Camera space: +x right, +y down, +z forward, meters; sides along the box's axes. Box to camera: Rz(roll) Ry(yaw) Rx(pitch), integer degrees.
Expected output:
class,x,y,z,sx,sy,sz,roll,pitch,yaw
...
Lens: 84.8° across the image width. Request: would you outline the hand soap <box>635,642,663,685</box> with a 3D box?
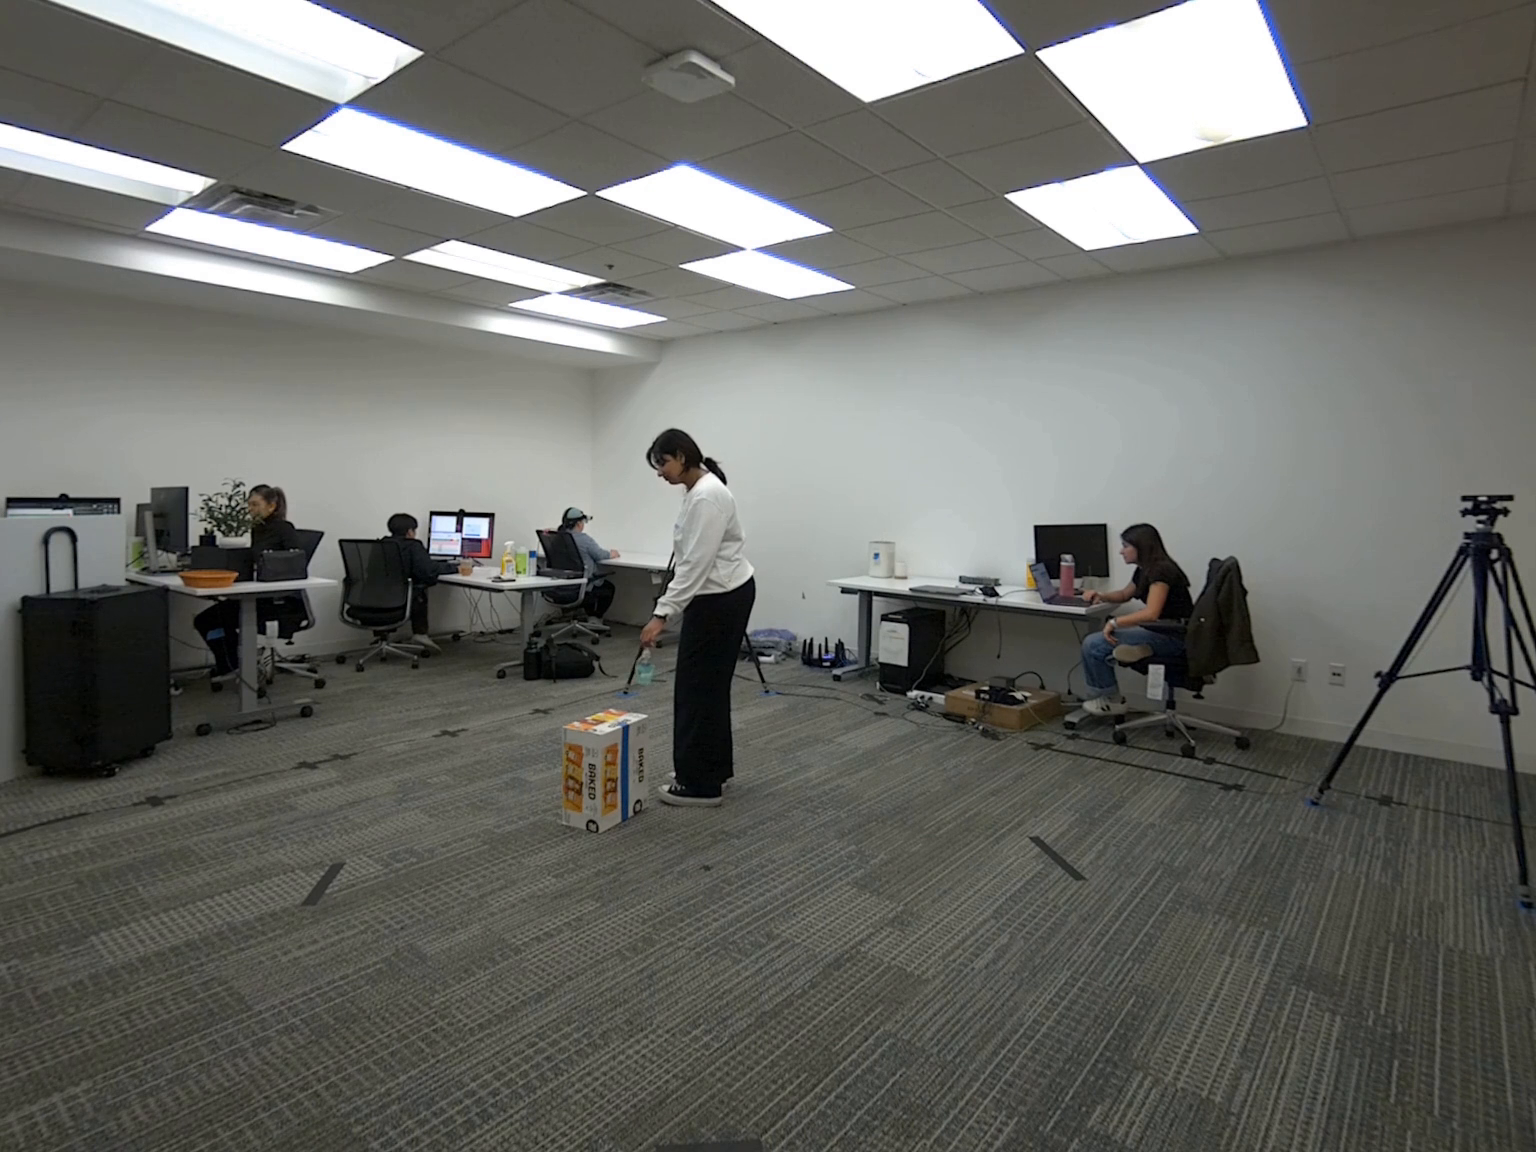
class,x,y,z,sx,sy,sz,roll,pitch,yaw
hand soap,-0.507,0.369,3.559,0.082,0.168,0.044,8,-3,-26
